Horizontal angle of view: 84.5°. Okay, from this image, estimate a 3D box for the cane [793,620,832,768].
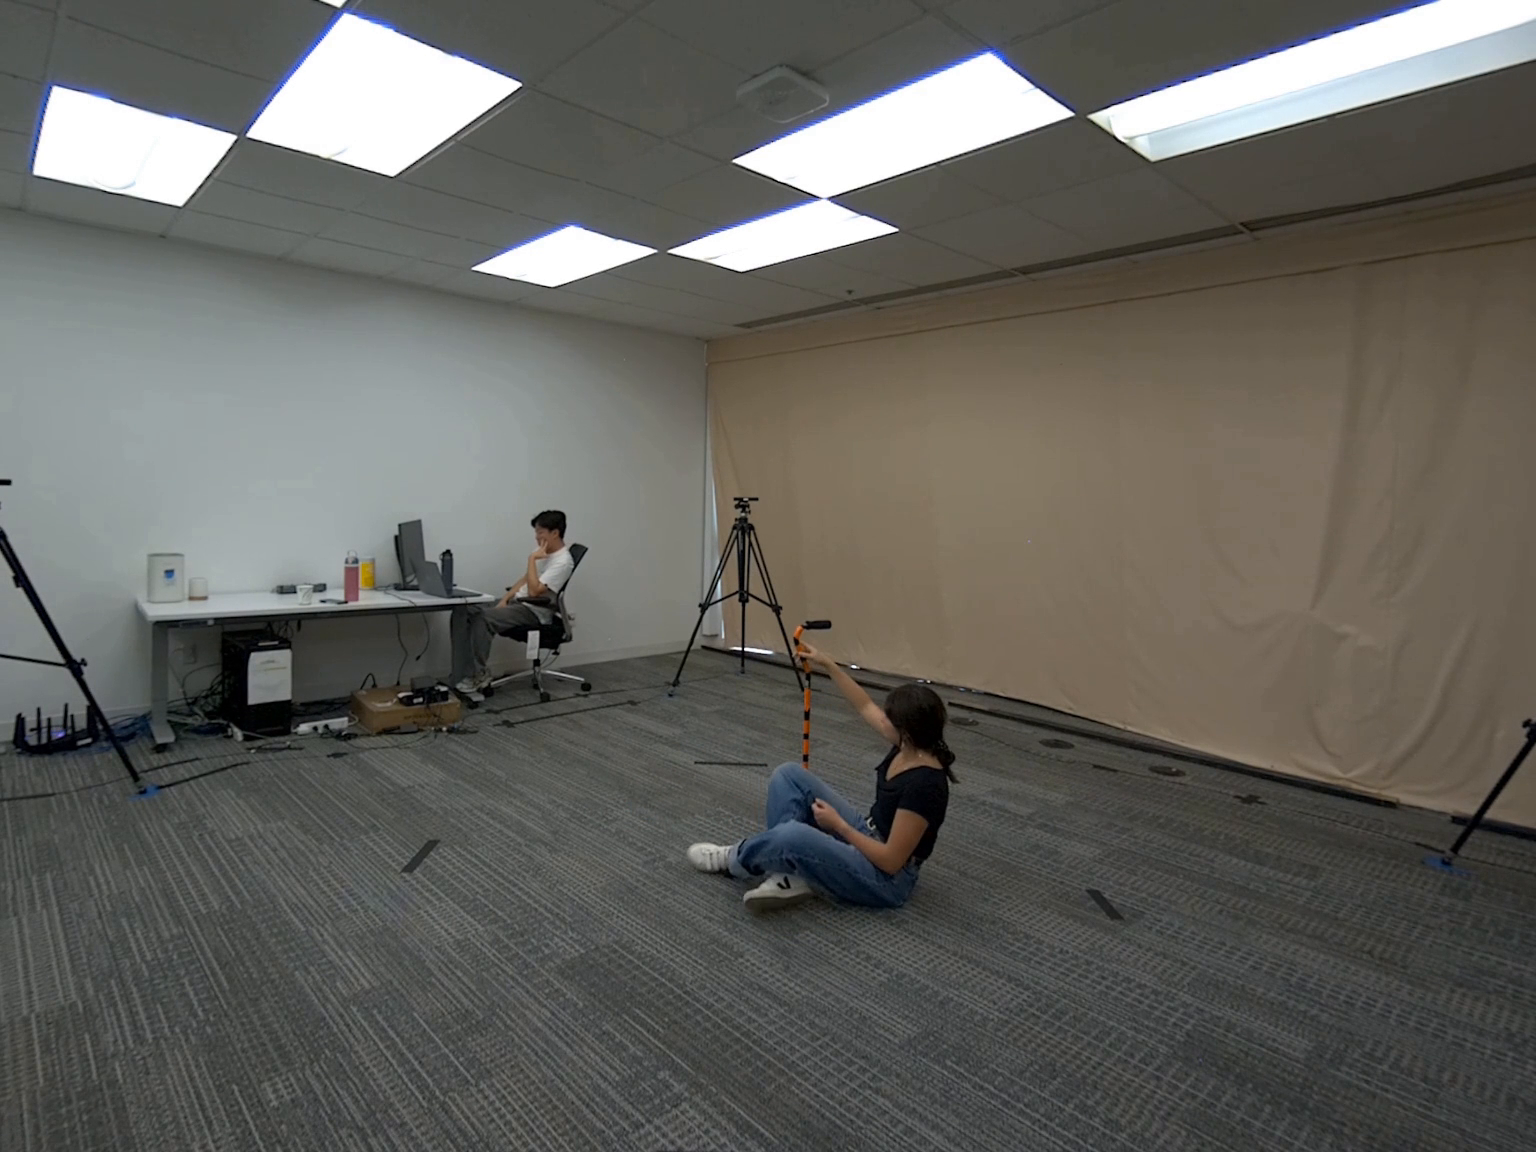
[{"bbox_3d":[0.134,0.635,3.394,0.202,0.906,0.155,0,3,-27],"label":"cane"}]
